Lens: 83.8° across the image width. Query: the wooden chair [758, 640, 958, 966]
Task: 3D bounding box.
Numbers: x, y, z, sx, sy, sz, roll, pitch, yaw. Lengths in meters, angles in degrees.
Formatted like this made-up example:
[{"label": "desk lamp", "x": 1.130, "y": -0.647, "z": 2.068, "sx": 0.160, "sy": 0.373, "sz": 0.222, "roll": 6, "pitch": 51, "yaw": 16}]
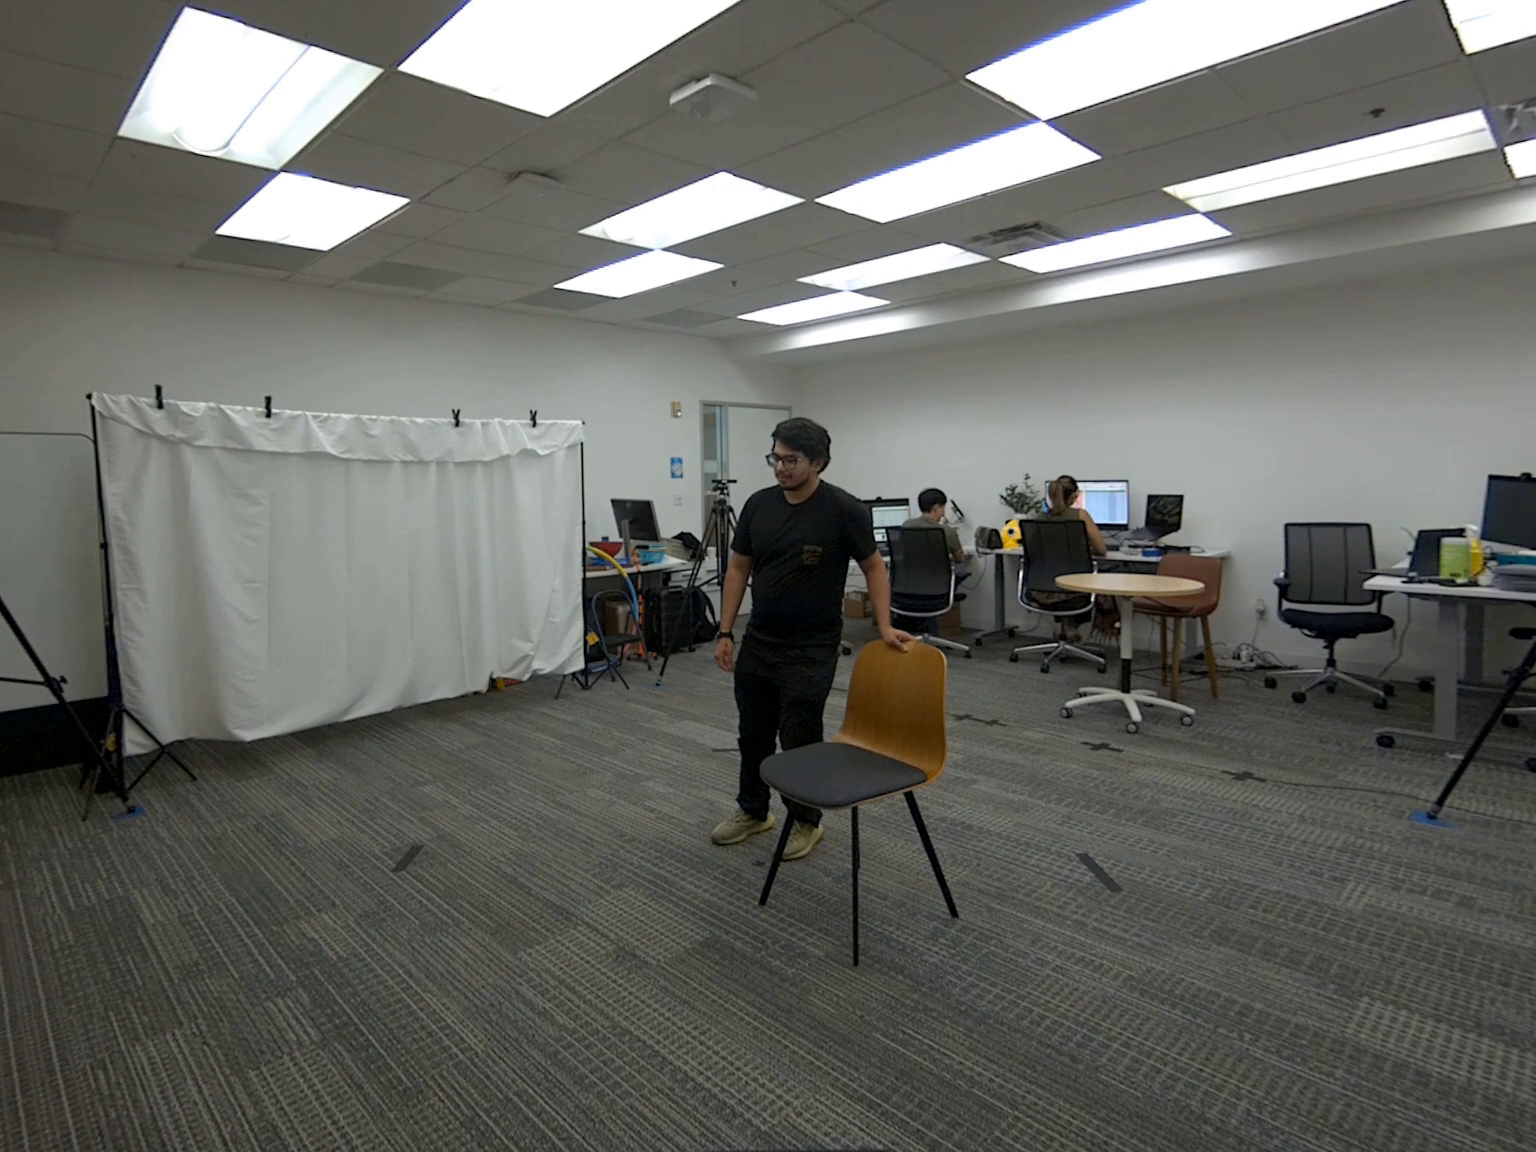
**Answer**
[{"label": "wooden chair", "x": 0.278, "y": 0.661, "z": 2.713, "sx": 0.508, "sy": 0.876, "sz": 0.492, "roll": 1, "pitch": 2, "yaw": -38}]
